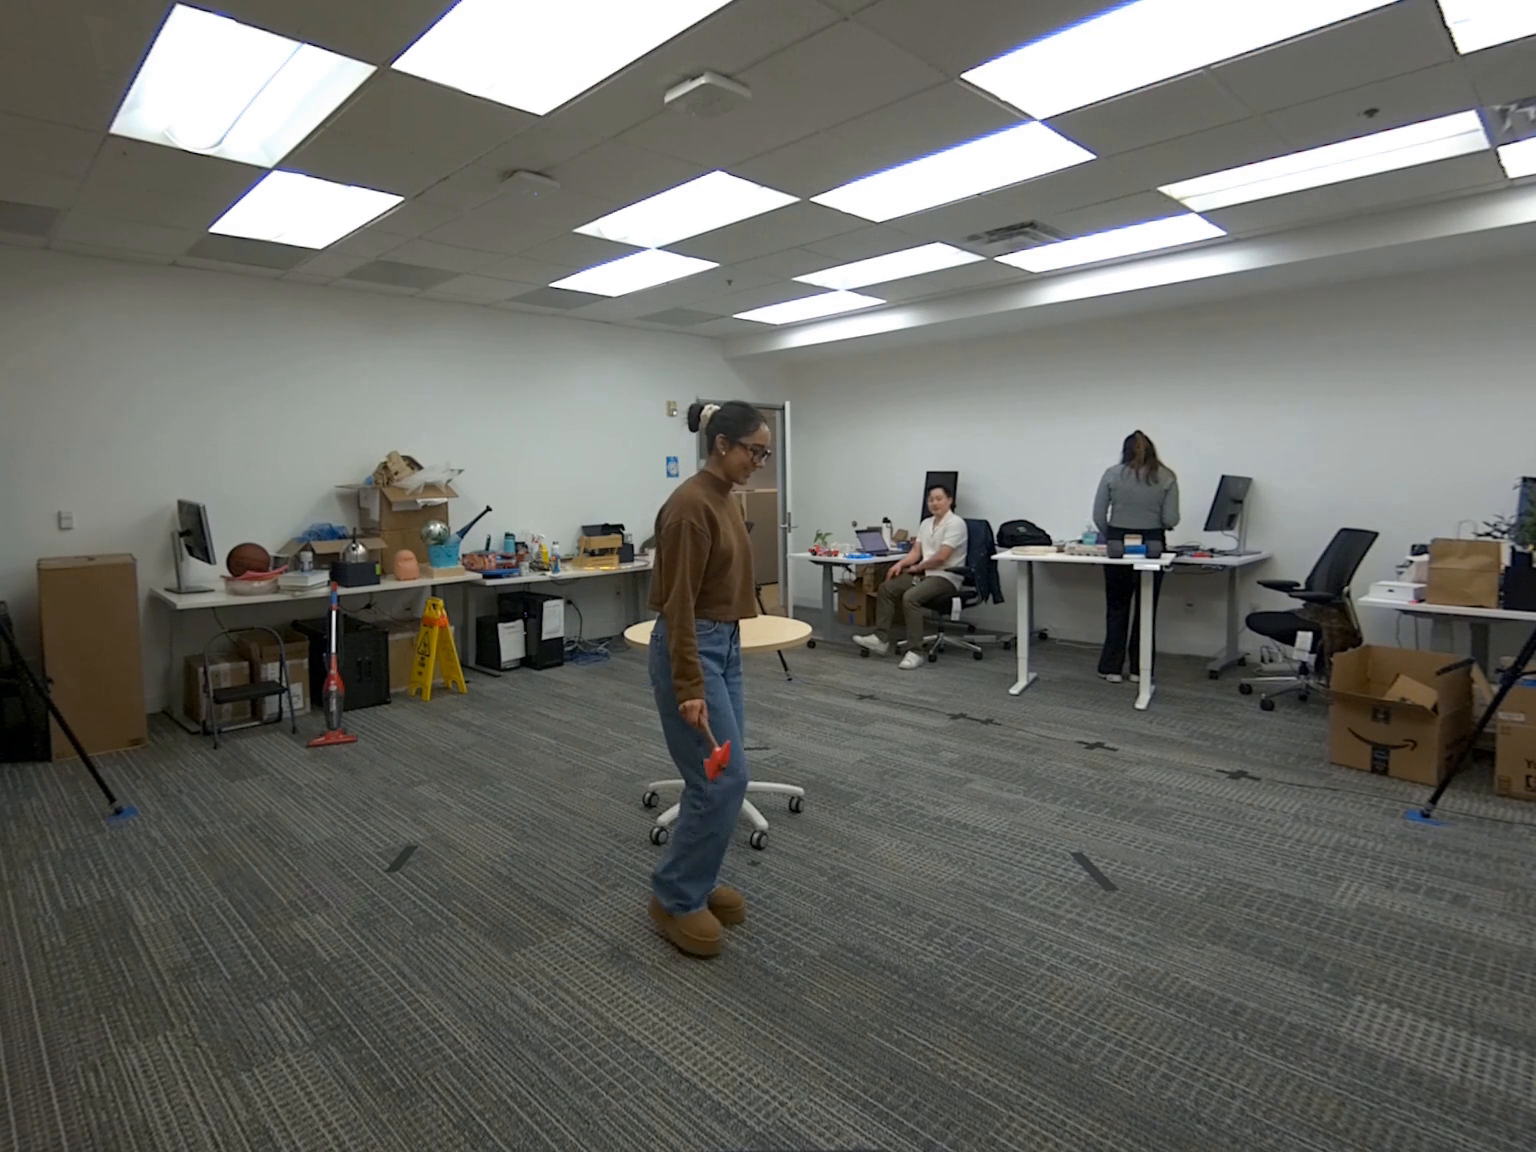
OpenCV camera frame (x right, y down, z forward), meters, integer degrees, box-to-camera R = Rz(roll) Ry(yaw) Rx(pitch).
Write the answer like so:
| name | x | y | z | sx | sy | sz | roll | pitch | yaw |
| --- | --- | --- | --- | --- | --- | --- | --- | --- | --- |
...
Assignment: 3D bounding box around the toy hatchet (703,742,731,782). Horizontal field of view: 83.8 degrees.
| name | x | y | z | sx | sy | sz | roll | pitch | yaw |
| --- | --- | --- | --- | --- | --- | --- | --- | --- | --- |
| toy hatchet | -0.181 | 0.450 | 2.296 | 0.029 | 0.130 | 0.278 | 2 | 12 | -25 |
